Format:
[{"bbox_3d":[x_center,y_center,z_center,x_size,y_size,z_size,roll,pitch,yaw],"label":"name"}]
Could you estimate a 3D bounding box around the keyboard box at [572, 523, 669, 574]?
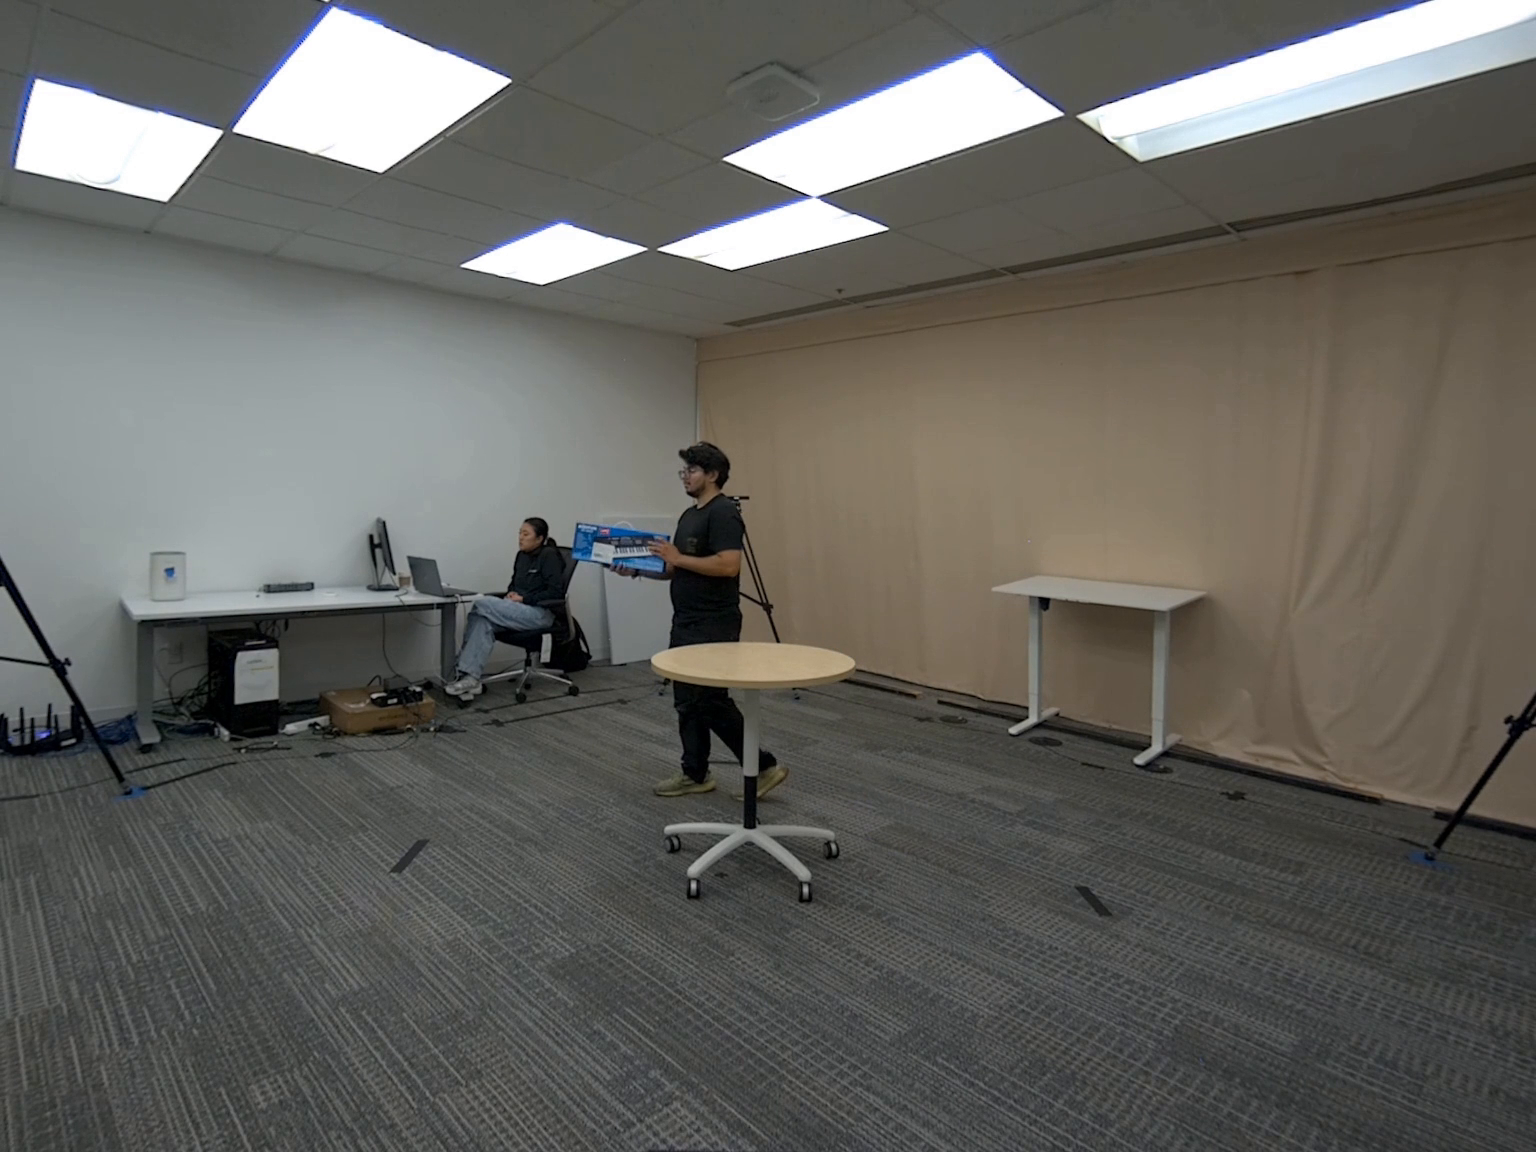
[{"bbox_3d":[-0.676,-0.129,3.860,0.440,0.176,0.059,8,0,8],"label":"keyboard box"}]
